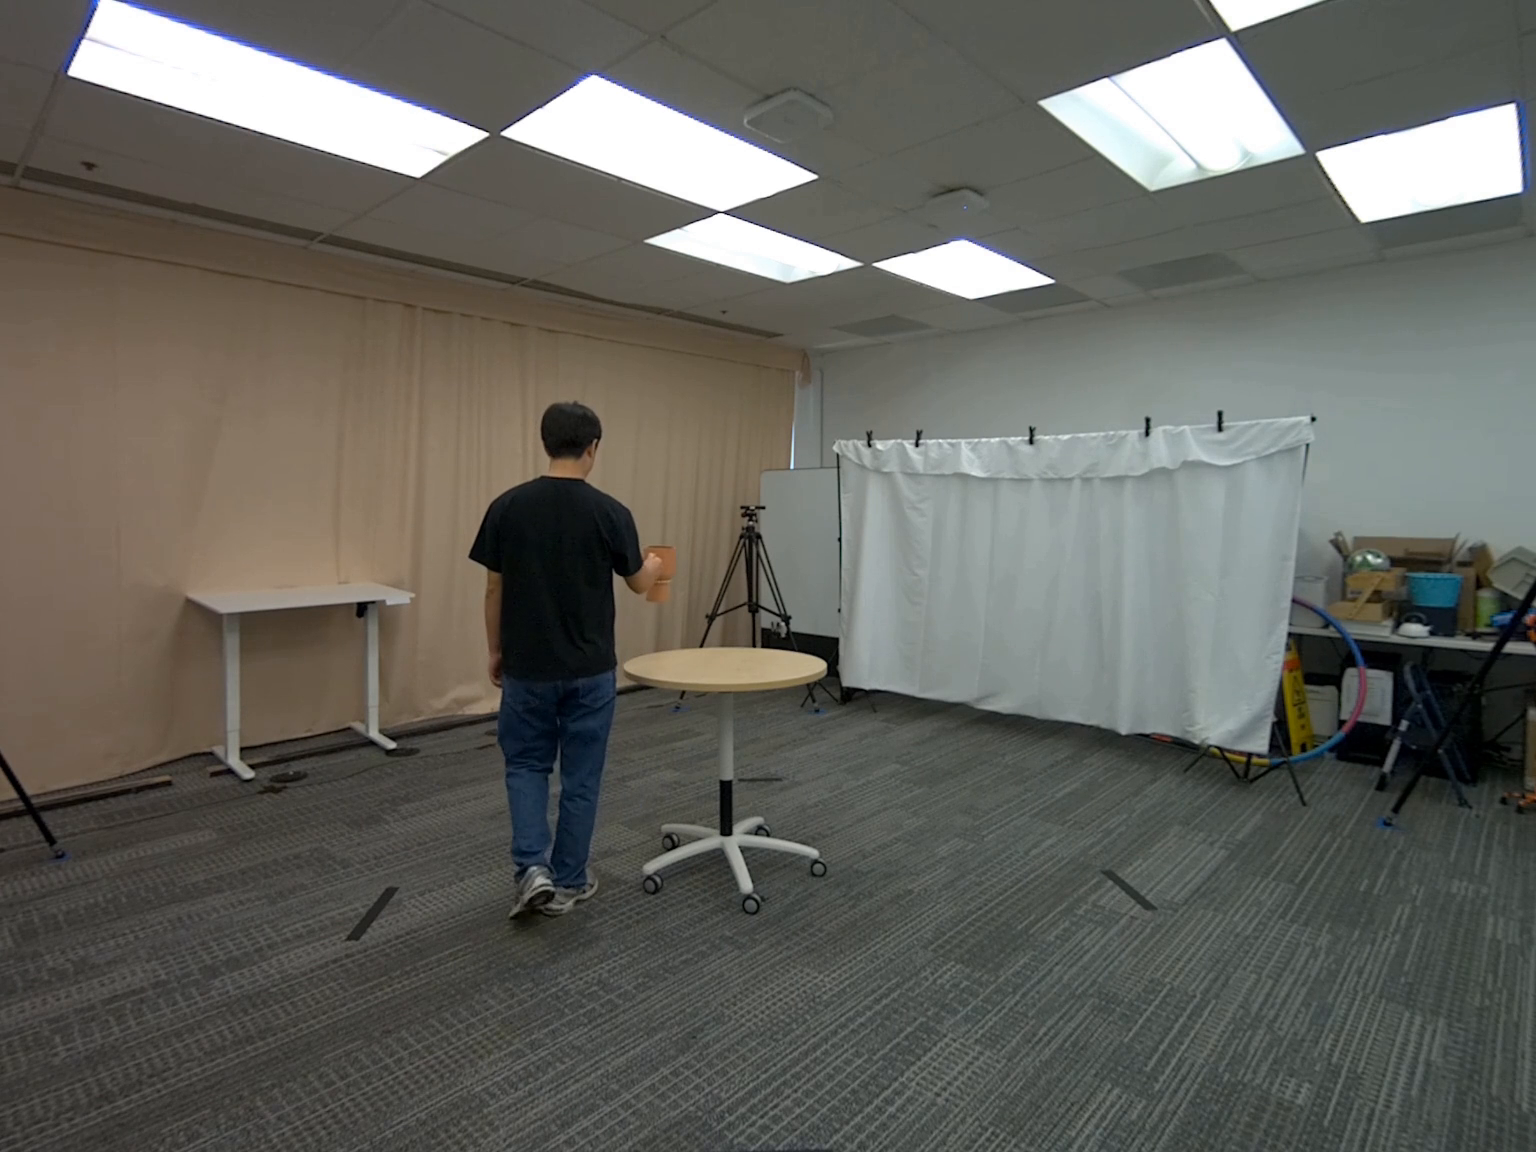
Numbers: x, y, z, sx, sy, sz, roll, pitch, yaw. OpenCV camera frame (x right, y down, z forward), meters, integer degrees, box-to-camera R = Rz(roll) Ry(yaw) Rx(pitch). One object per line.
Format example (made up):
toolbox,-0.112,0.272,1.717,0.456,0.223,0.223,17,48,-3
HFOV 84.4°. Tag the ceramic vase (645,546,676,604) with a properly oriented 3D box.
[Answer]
ceramic vase,-0.440,-0.009,3.430,0.154,0.219,0.139,0,5,-39
